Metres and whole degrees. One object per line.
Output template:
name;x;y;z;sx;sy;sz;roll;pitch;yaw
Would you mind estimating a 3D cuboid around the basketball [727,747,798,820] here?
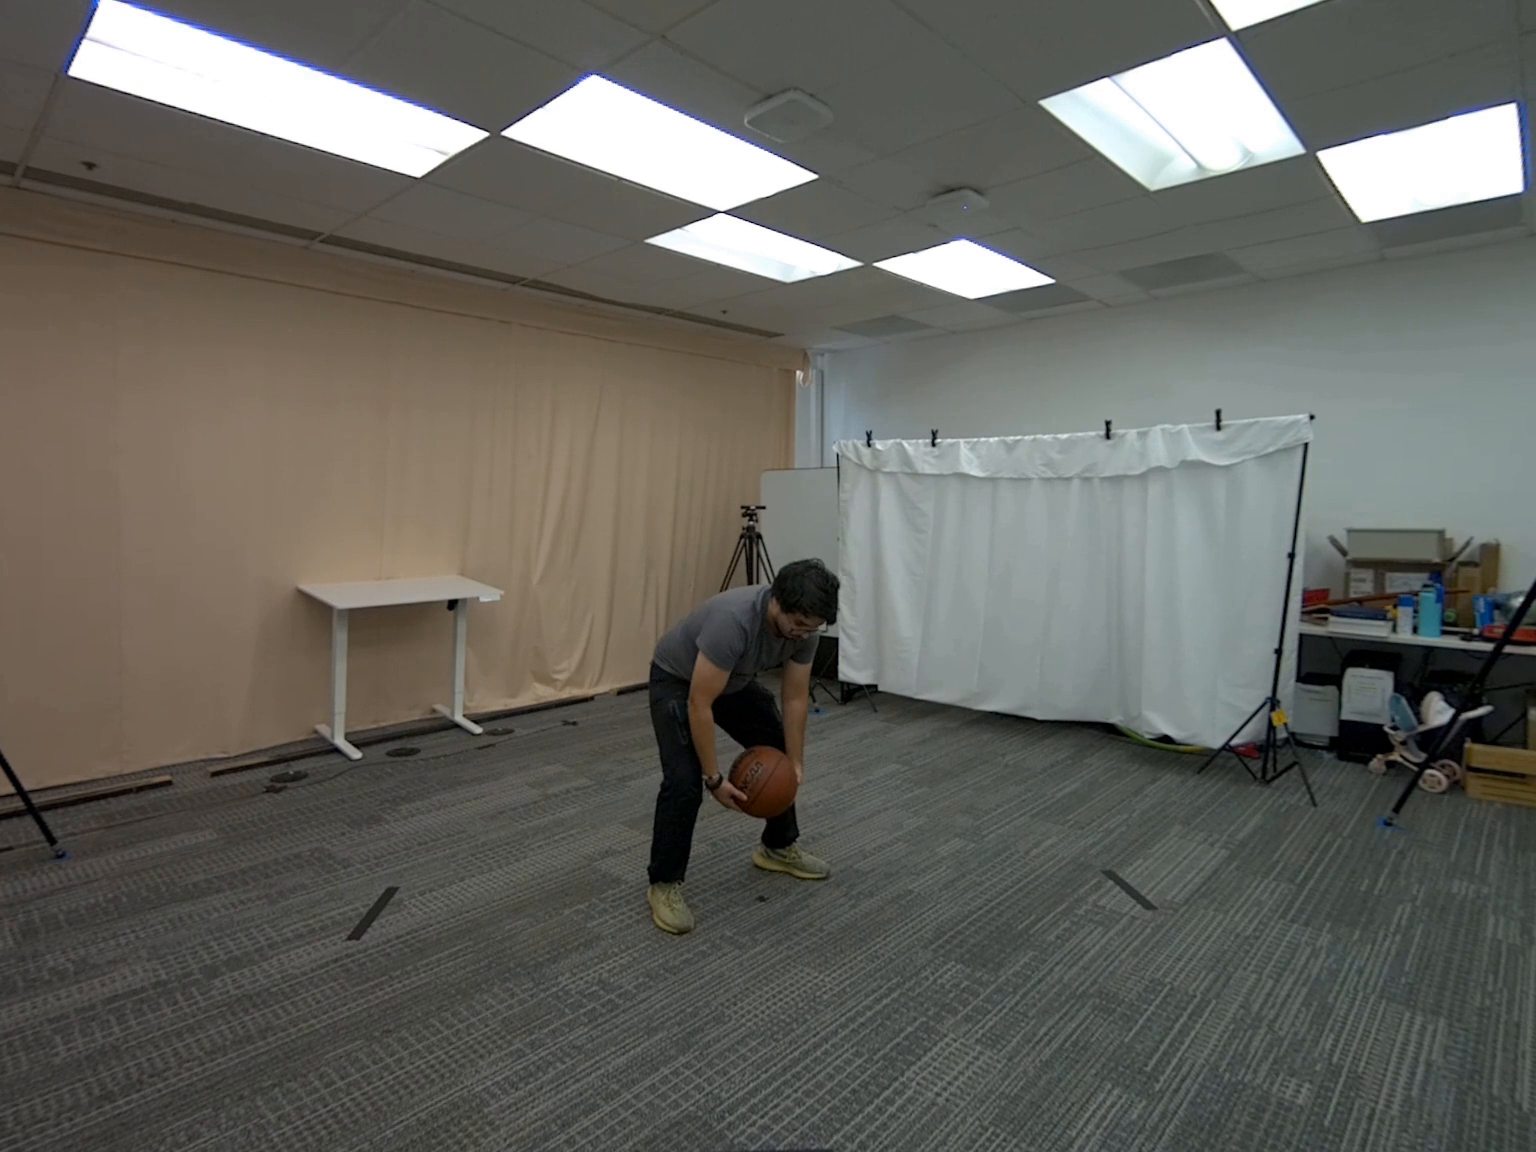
basketball;-0.020;0.703;2.872;0.236;0.235;0.237;0;4;-2
